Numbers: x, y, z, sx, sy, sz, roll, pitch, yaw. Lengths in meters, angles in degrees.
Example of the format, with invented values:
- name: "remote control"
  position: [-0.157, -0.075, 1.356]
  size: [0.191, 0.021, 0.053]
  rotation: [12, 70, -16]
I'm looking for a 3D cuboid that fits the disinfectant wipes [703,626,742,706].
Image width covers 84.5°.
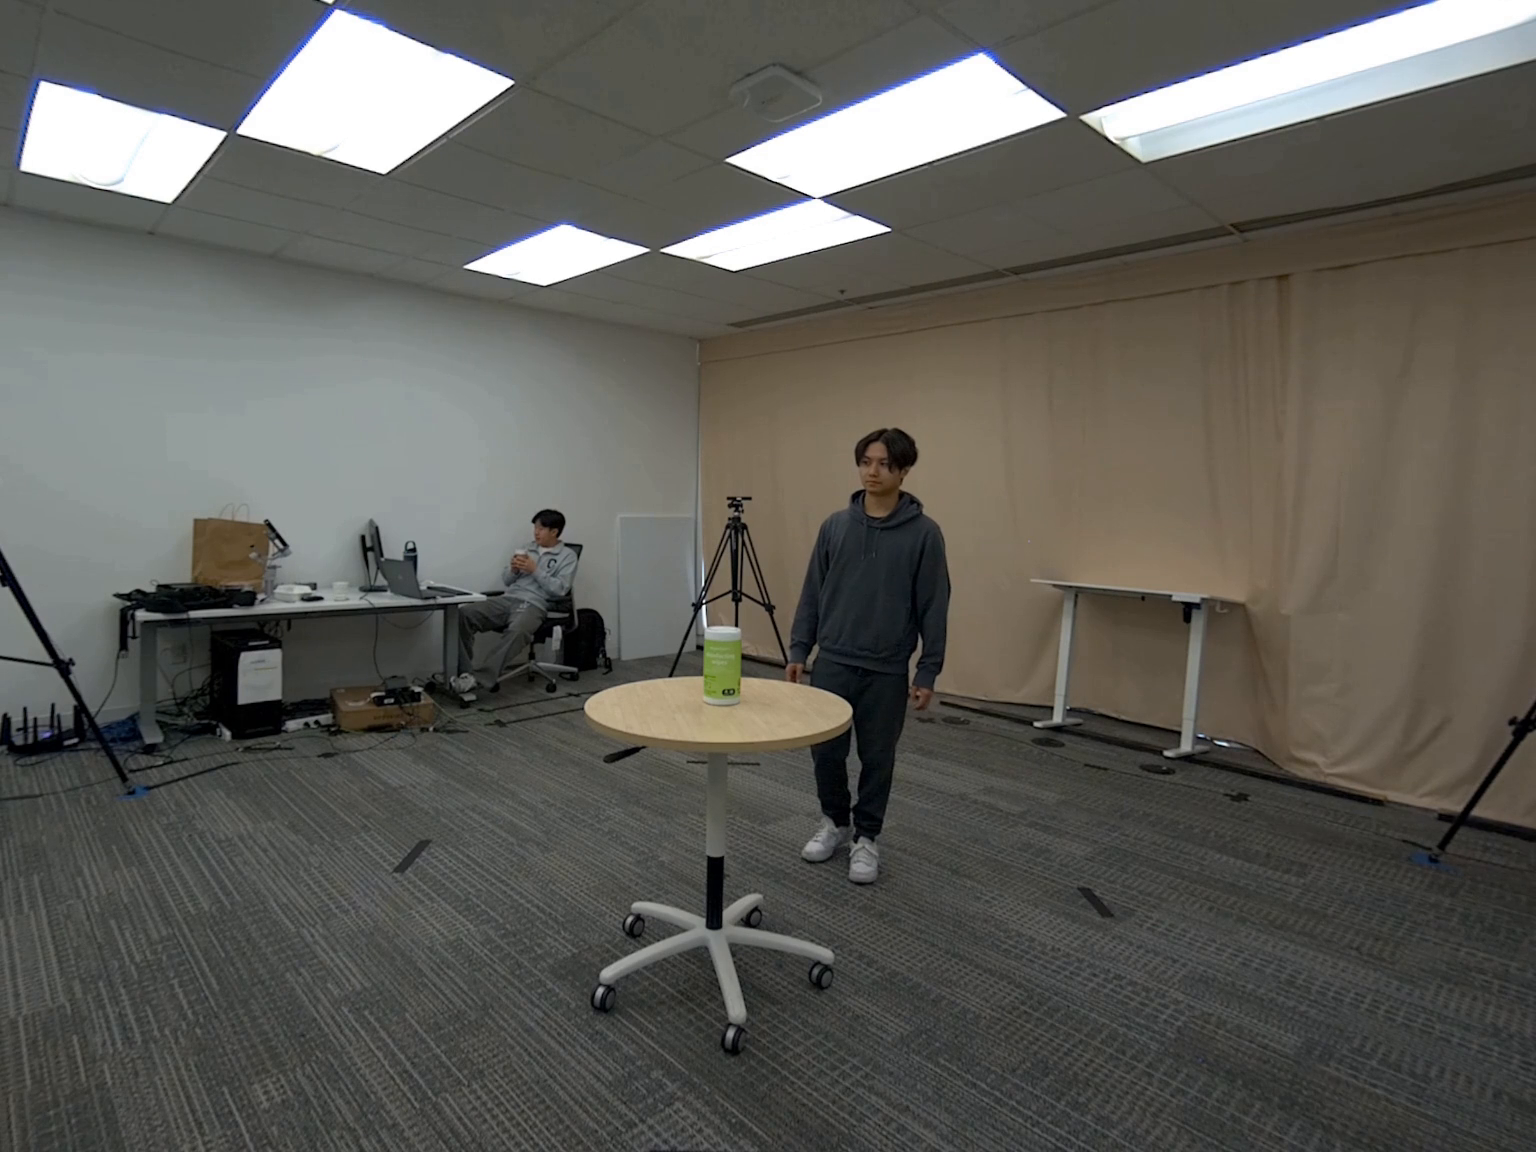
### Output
- name: "disinfectant wipes"
  position: [-0.146, 0.264, 2.448]
  size: [0.118, 0.217, 0.118]
  rotation: [0, 3, -1]
